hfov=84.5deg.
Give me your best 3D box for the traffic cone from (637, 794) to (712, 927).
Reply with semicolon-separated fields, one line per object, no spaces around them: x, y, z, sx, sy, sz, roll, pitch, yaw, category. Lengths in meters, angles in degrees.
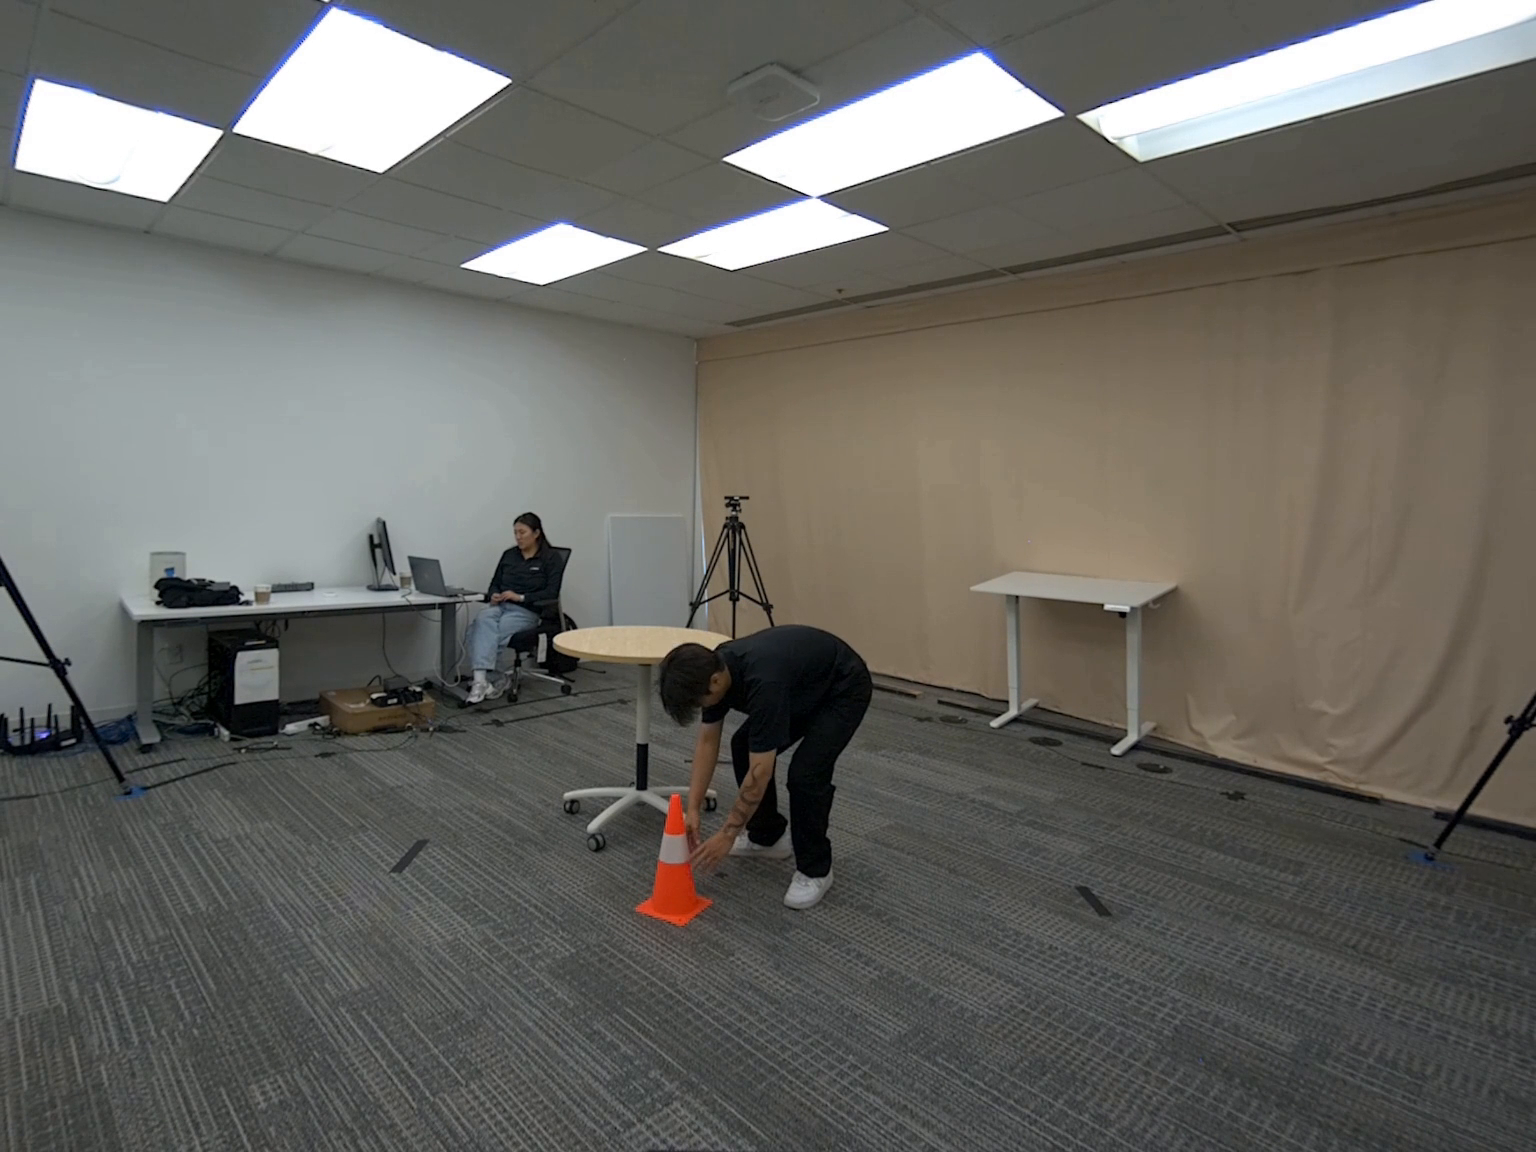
-0.318;0.945;2.851;0.207;0.383;0.201;4;4;25;traffic cone
